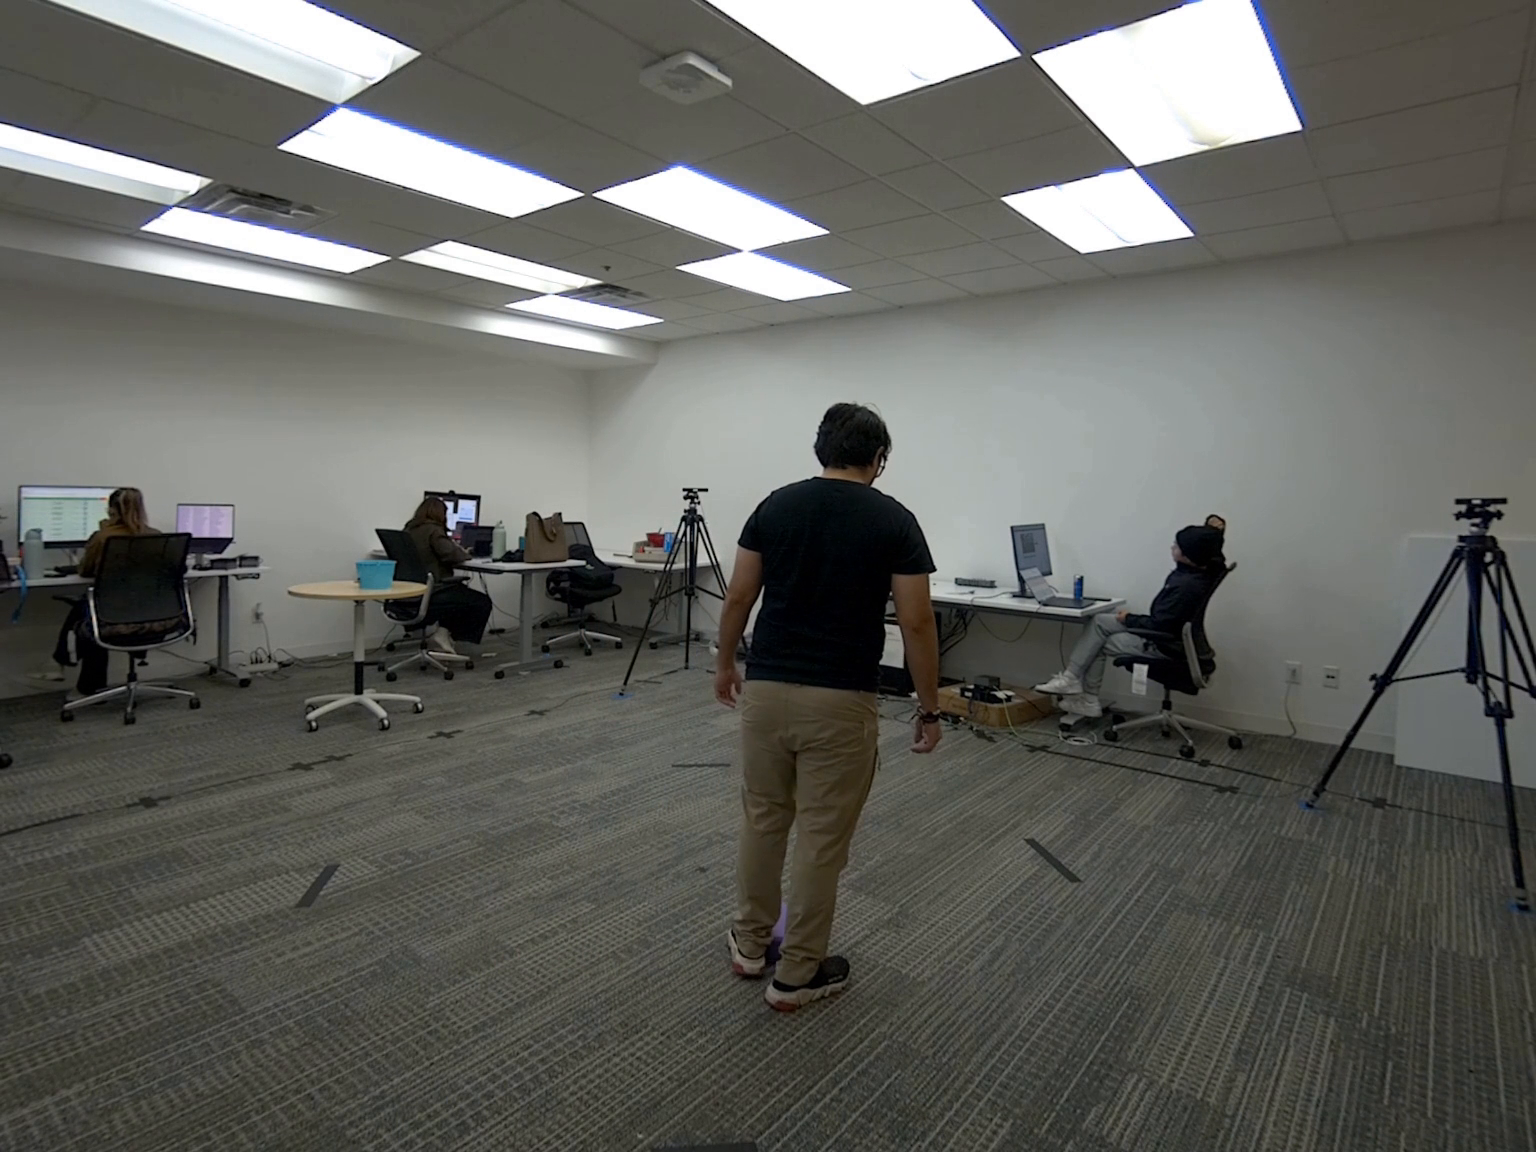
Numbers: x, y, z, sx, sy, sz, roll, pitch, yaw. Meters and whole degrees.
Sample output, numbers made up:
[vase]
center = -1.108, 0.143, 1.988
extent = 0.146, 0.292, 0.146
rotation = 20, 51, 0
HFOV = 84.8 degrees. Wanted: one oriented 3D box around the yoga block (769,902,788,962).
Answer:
[yoga block]
center = 0.058, 1.080, 2.598
extent = 0.149, 0.076, 0.230
rotation = 0, 5, 0
